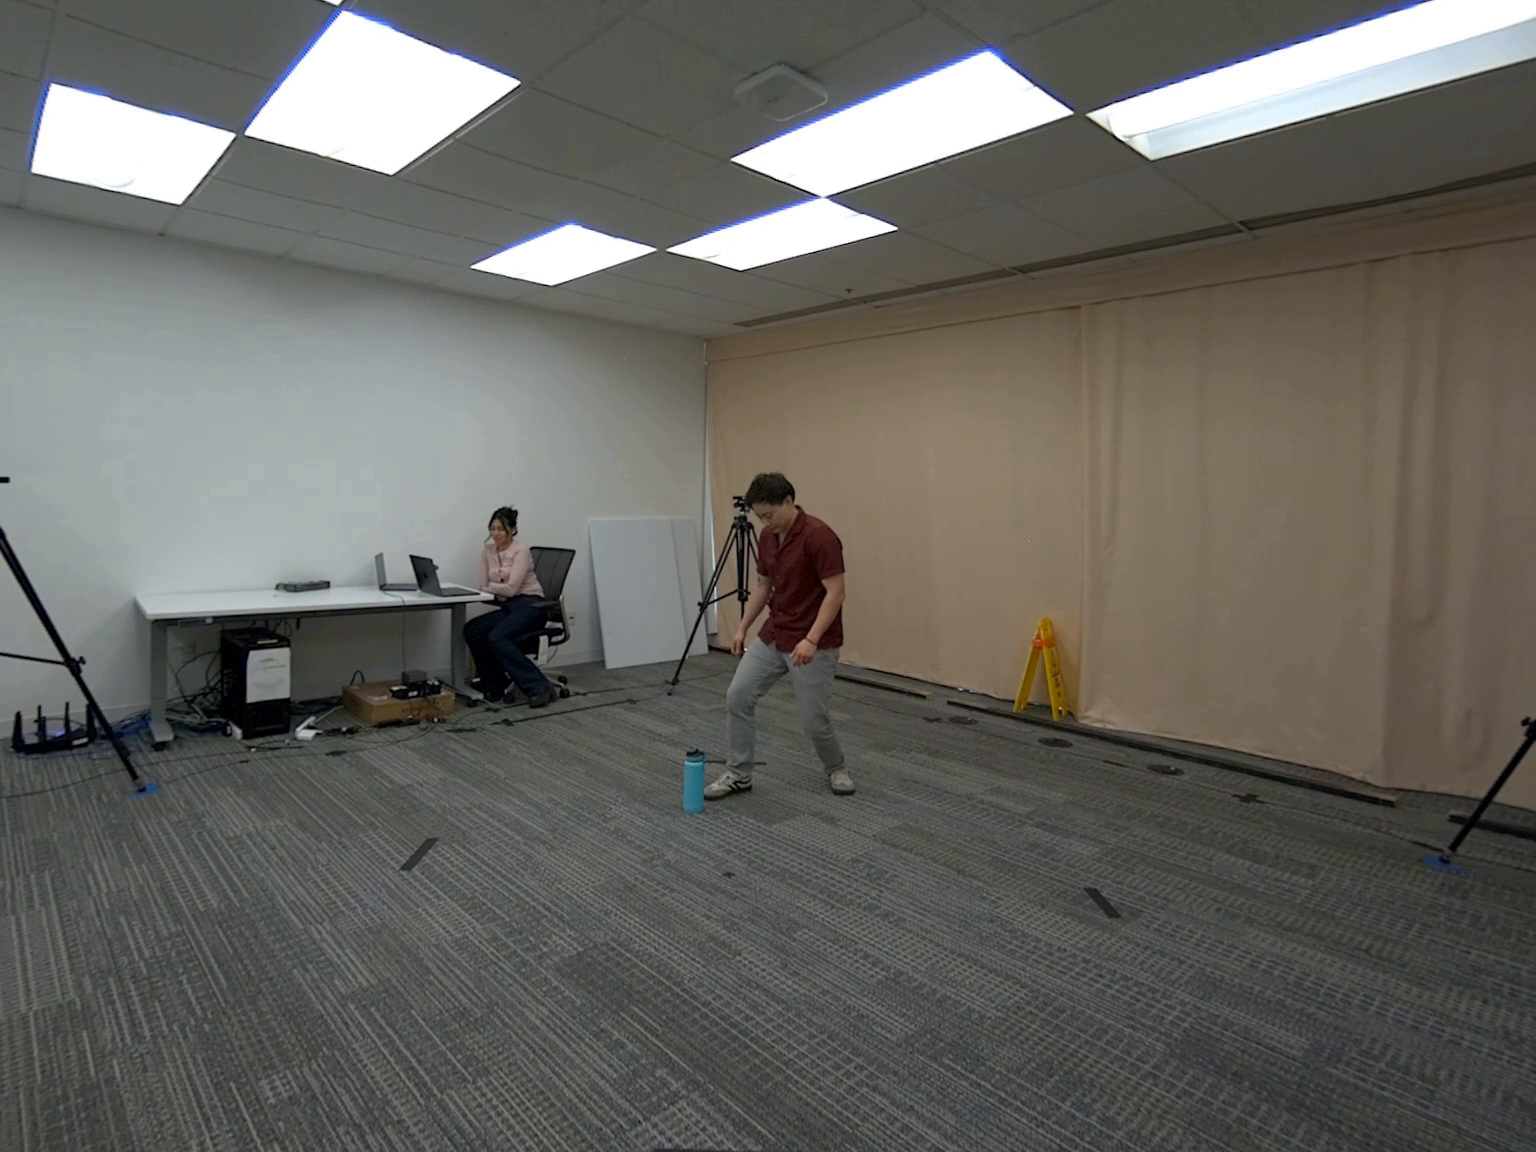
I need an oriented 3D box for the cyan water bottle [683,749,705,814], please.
[{"bbox_3d":[-0.339,0.905,3.745,0.092,0.283,0.092,3,3,-2],"label":"cyan water bottle"}]
